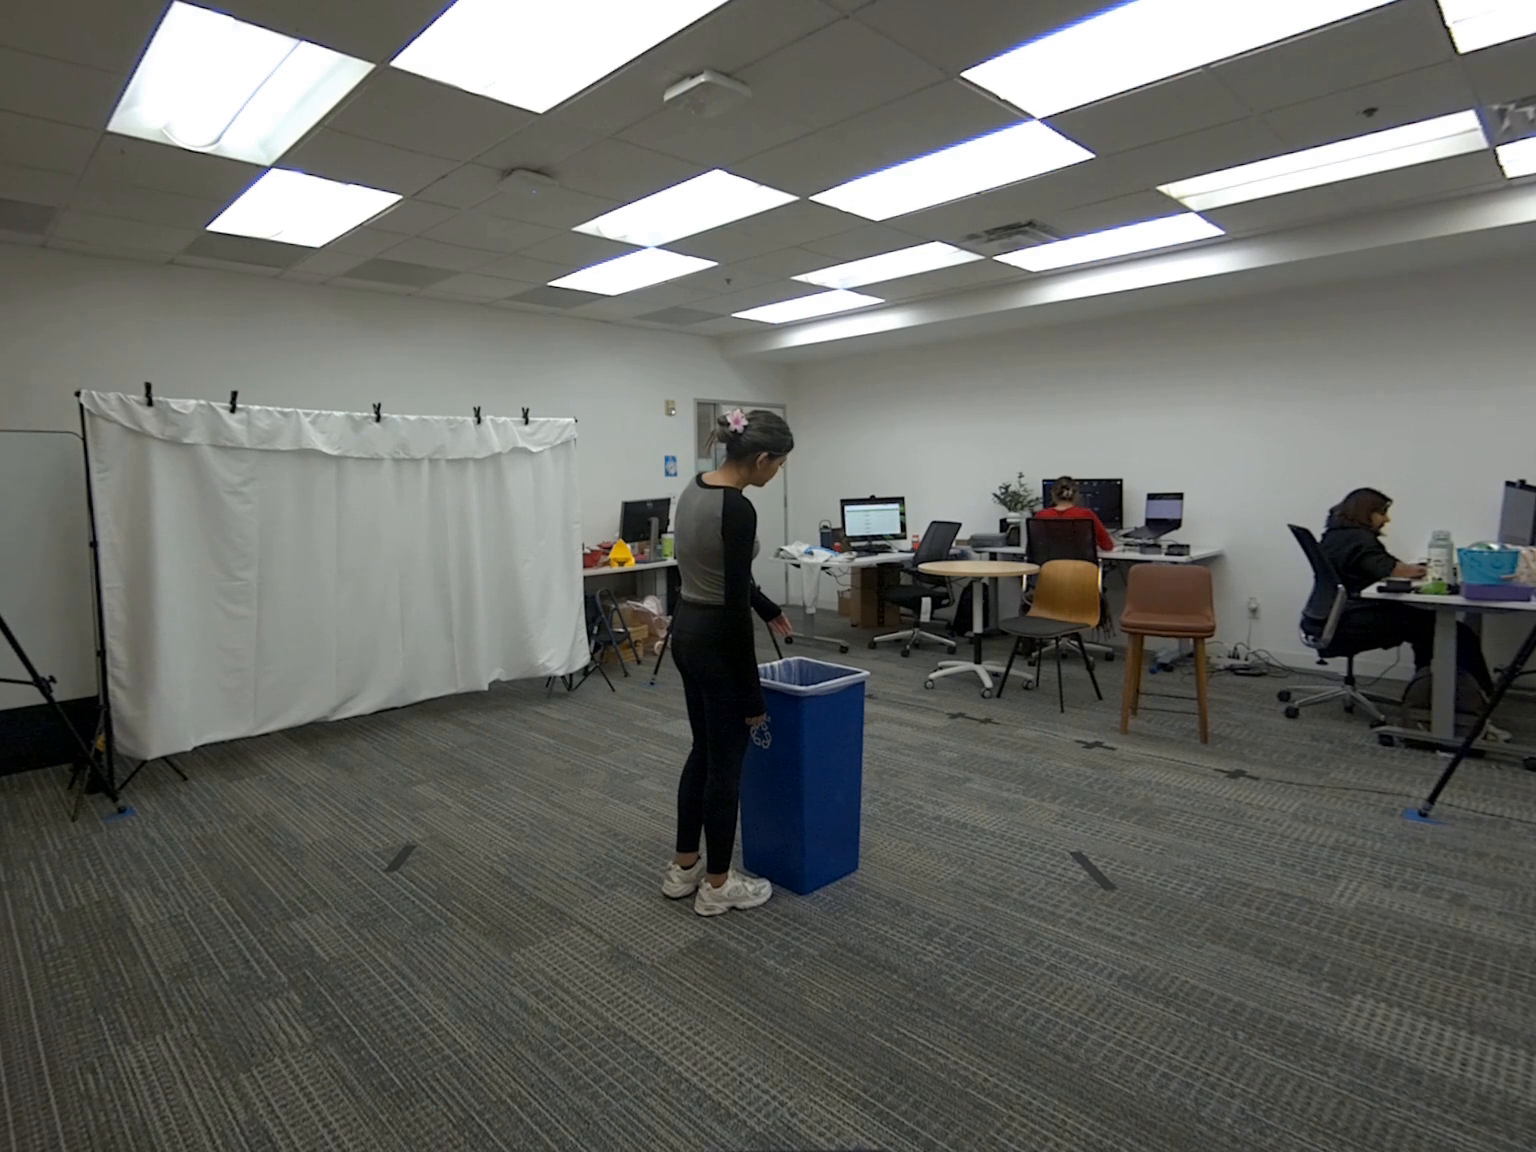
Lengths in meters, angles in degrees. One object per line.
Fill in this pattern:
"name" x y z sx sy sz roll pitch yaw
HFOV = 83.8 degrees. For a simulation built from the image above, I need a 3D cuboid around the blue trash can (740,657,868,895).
"blue trash can" 0.123 0.690 3.032 0.368 0.711 0.385 -5 6 -43
